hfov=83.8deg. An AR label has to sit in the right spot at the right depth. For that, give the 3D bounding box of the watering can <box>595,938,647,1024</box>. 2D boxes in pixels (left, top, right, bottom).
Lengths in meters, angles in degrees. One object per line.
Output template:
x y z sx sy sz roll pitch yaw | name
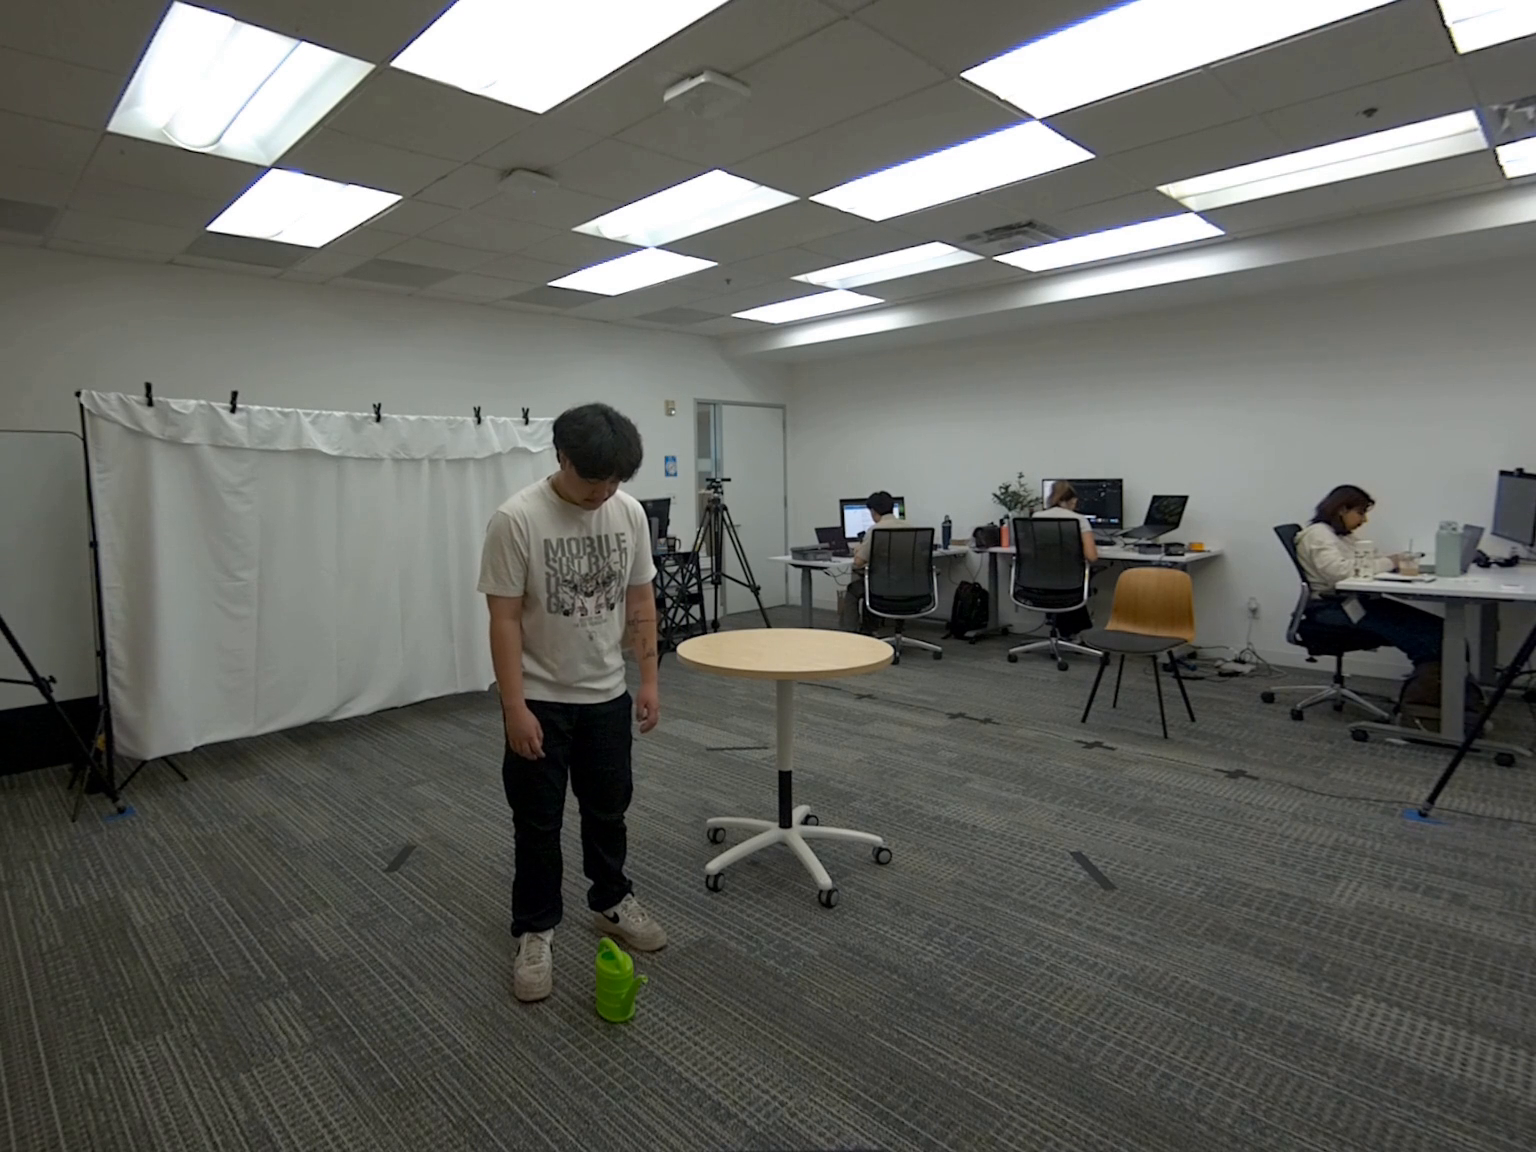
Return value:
-0.384 1.066 2.212 0.096 0.176 0.283 -4 5 -18 | watering can
